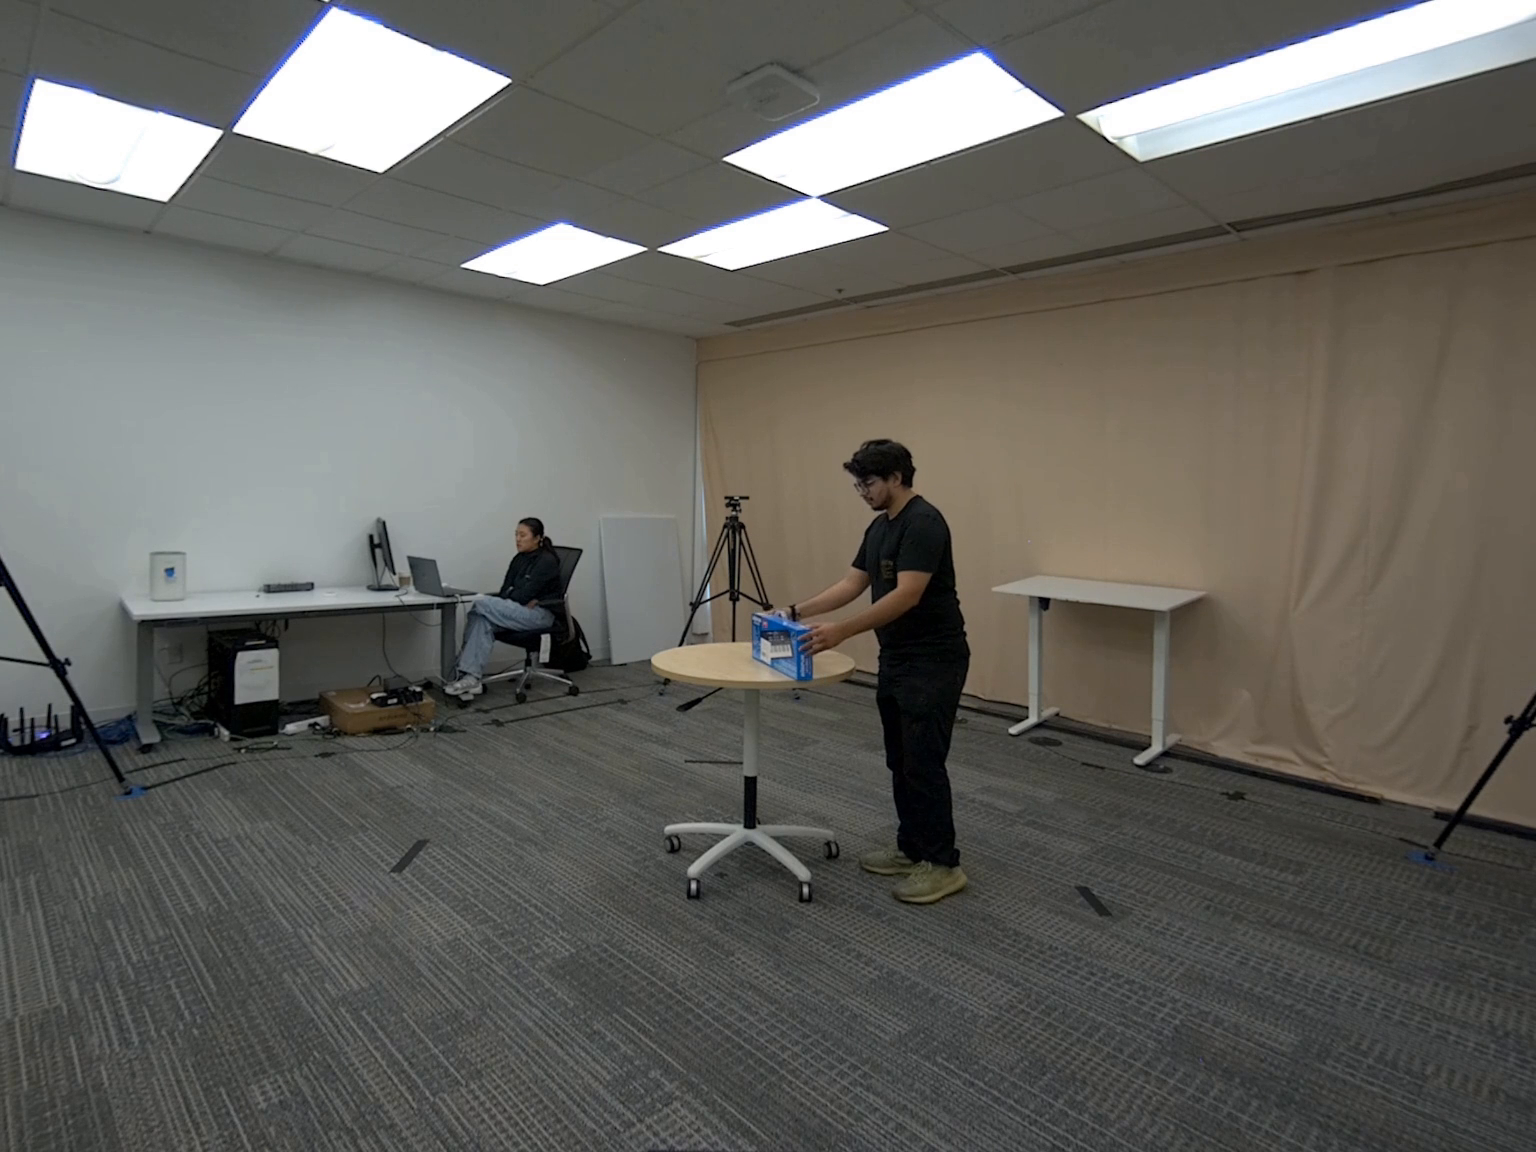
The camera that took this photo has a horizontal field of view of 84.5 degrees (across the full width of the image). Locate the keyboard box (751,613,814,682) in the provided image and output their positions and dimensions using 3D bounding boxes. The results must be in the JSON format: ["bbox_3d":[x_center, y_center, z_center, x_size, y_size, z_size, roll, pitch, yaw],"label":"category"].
[{"bbox_3d":[0.036,0.247,3.016,0.058,0.175,0.444,0,5,-20],"label":"keyboard box"}]
